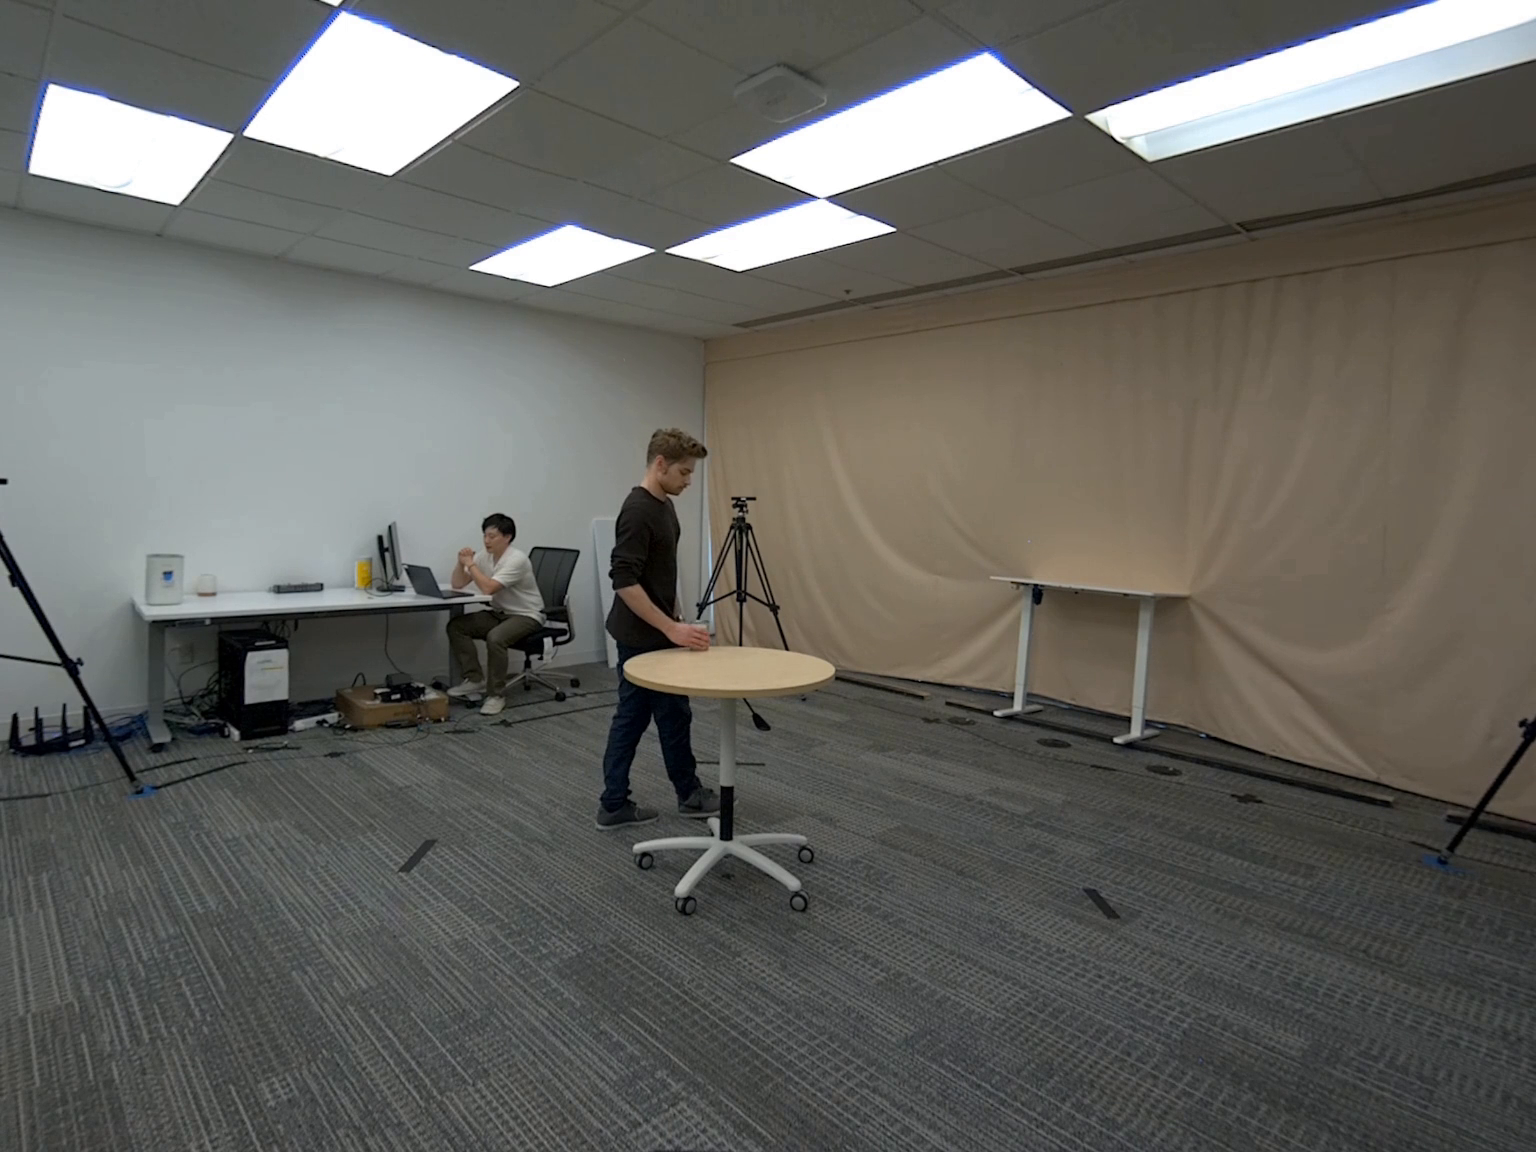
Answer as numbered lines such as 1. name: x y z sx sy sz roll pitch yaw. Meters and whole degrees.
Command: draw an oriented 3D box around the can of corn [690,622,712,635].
1. can of corn: -0.284 0.241 3.362 0.074 0.111 0.074 -1 4 -1
